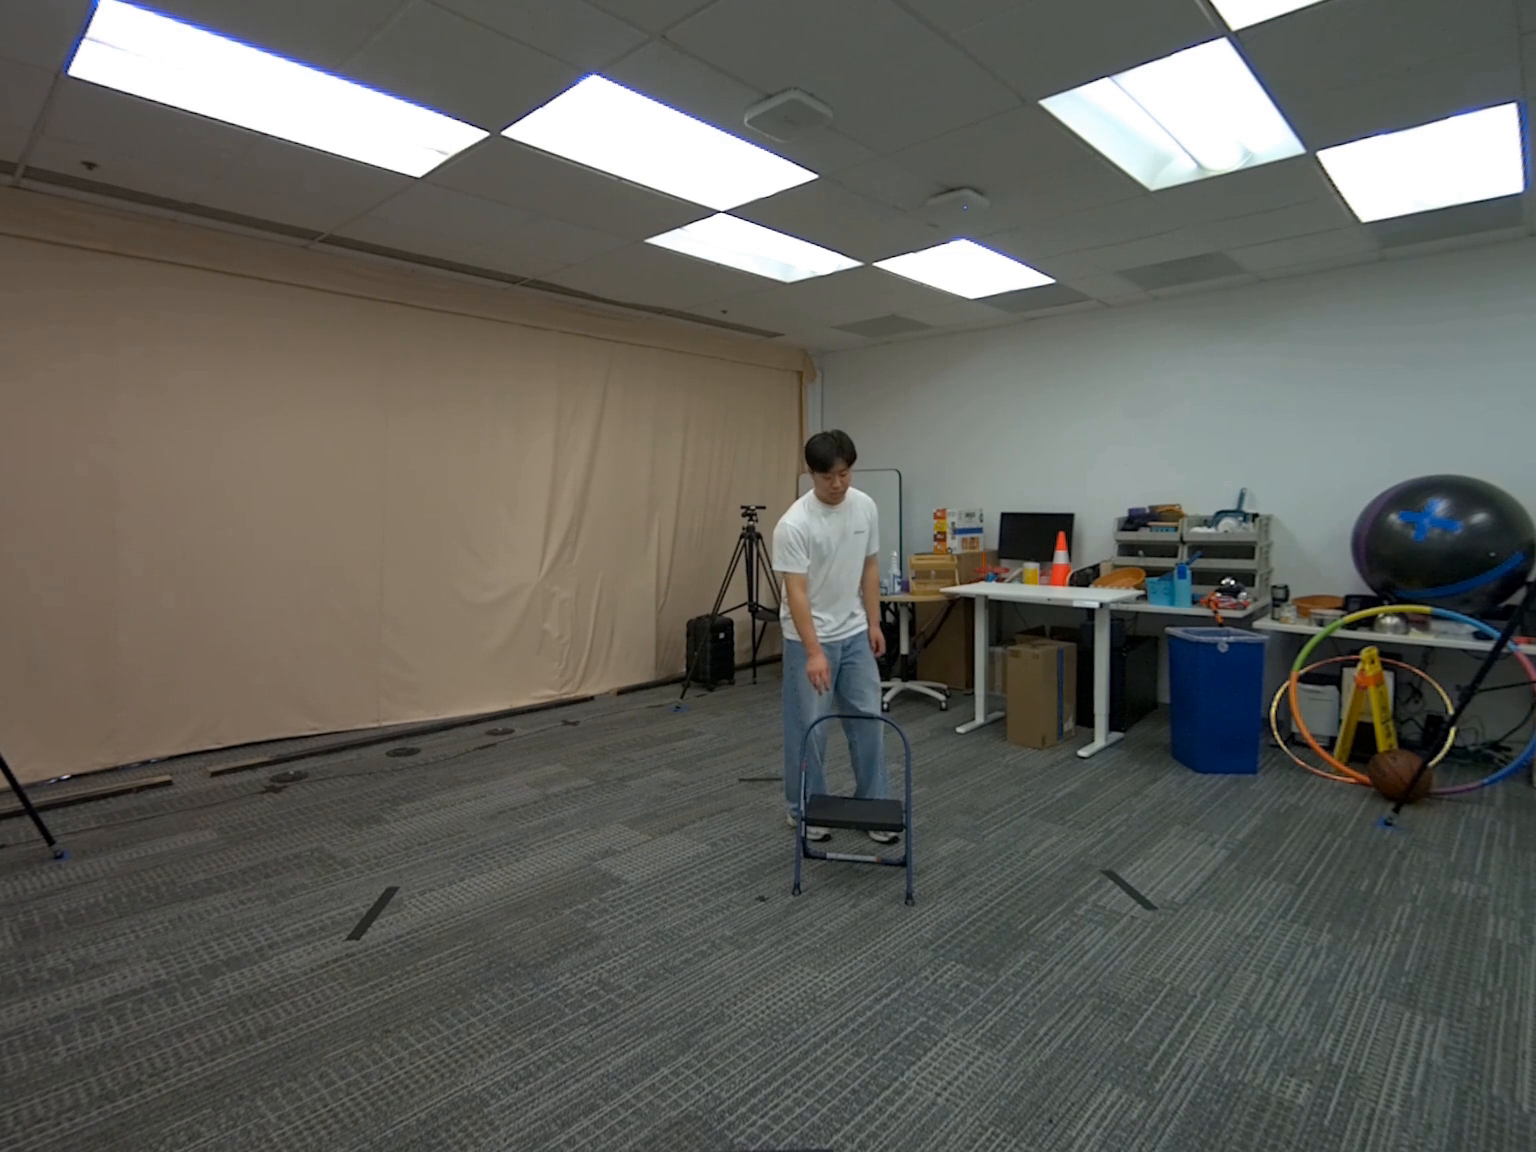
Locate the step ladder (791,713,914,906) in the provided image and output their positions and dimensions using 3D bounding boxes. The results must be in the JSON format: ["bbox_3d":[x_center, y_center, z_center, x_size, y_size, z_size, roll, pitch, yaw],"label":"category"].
[{"bbox_3d":[0.327,0.825,3.126,0.436,0.605,0.346,0,3,10],"label":"step ladder"}]
